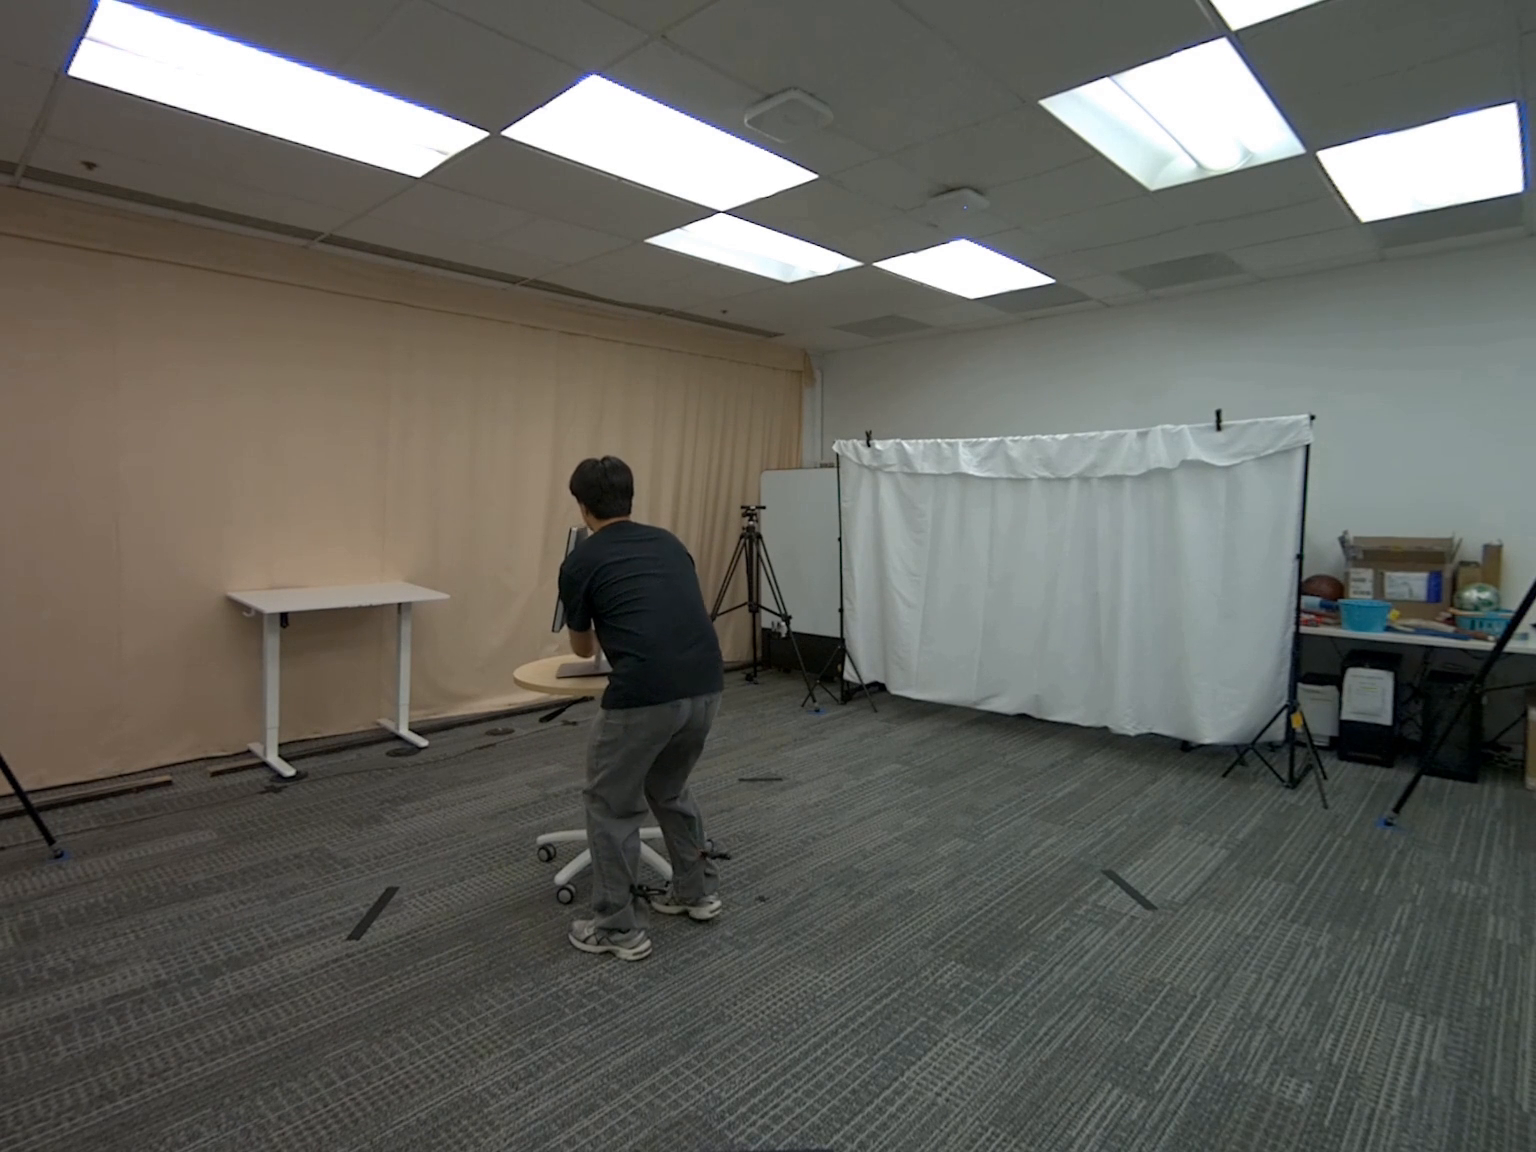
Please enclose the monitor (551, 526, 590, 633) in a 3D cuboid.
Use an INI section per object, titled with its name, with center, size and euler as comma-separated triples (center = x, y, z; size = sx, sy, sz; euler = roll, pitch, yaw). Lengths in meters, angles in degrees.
[monitor]
center = -0.699, 0.091, 3.134
size = 0.221, 0.564, 0.566
euler = -5, 4, -7
